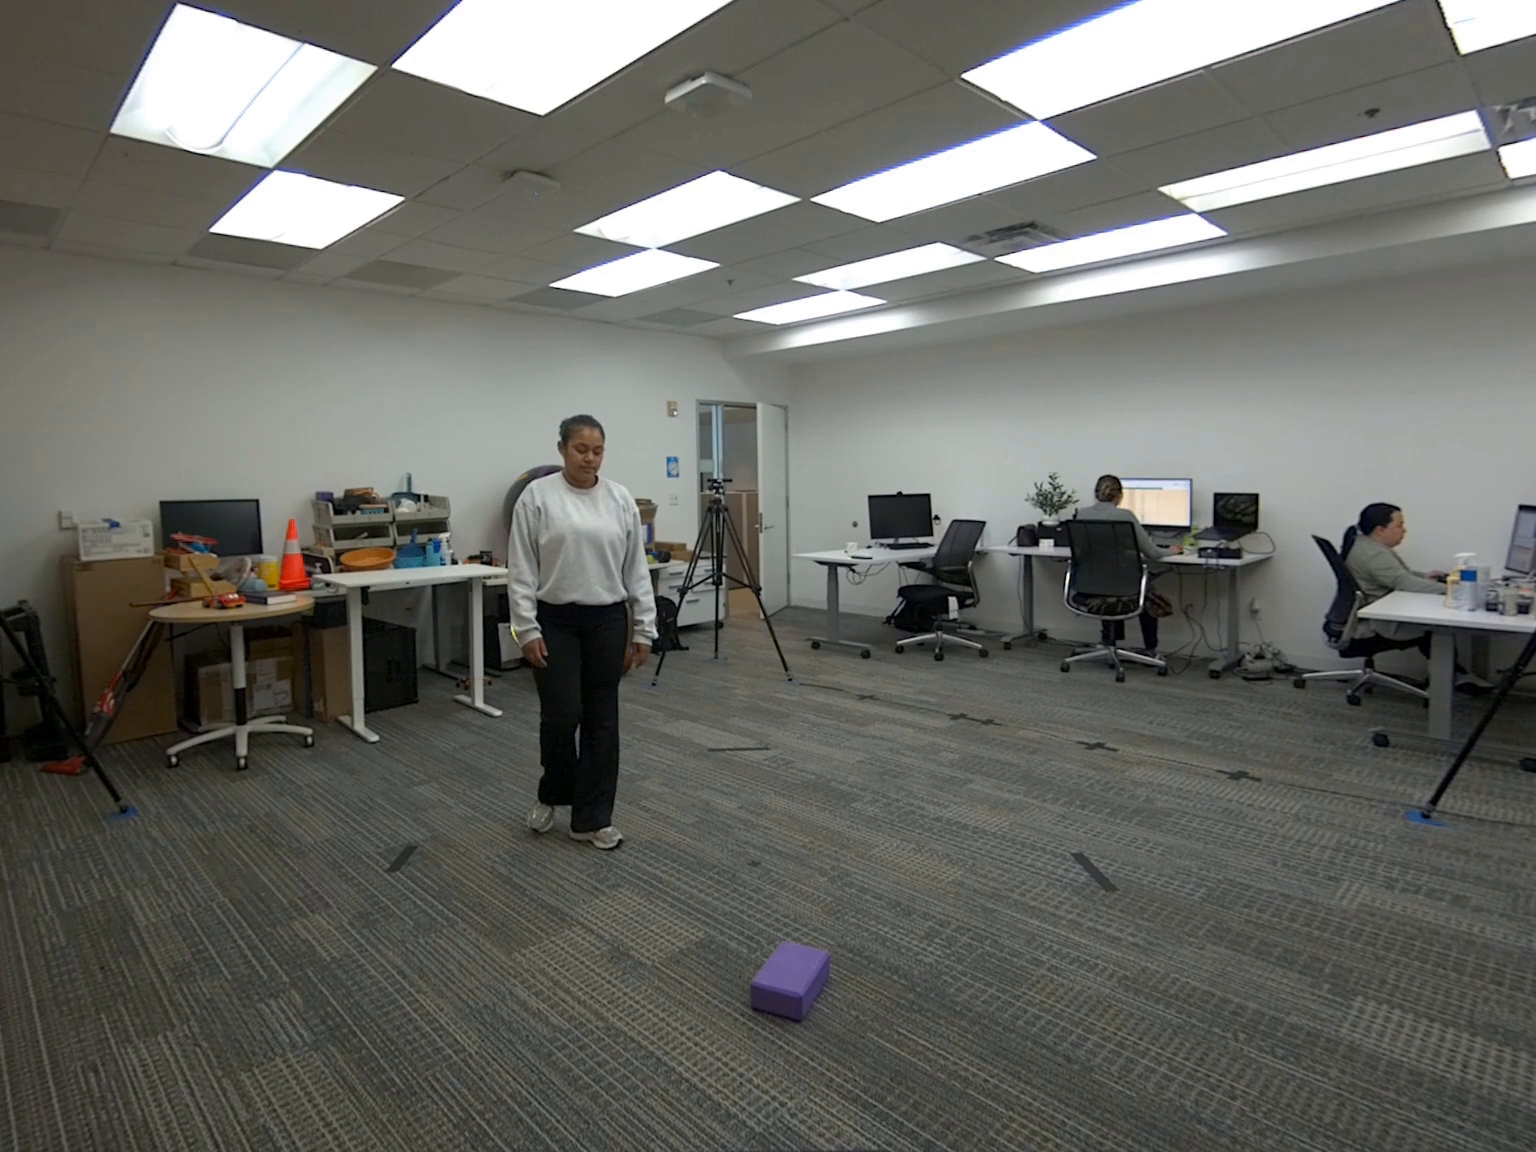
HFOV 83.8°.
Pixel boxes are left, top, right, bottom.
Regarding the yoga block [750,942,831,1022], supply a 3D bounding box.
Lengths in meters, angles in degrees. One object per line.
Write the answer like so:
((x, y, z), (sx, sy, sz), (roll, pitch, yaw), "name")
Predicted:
((0.072, 1.098, 2.317), (0.152, 0.076, 0.225), (1, 6, 25), "yoga block")
